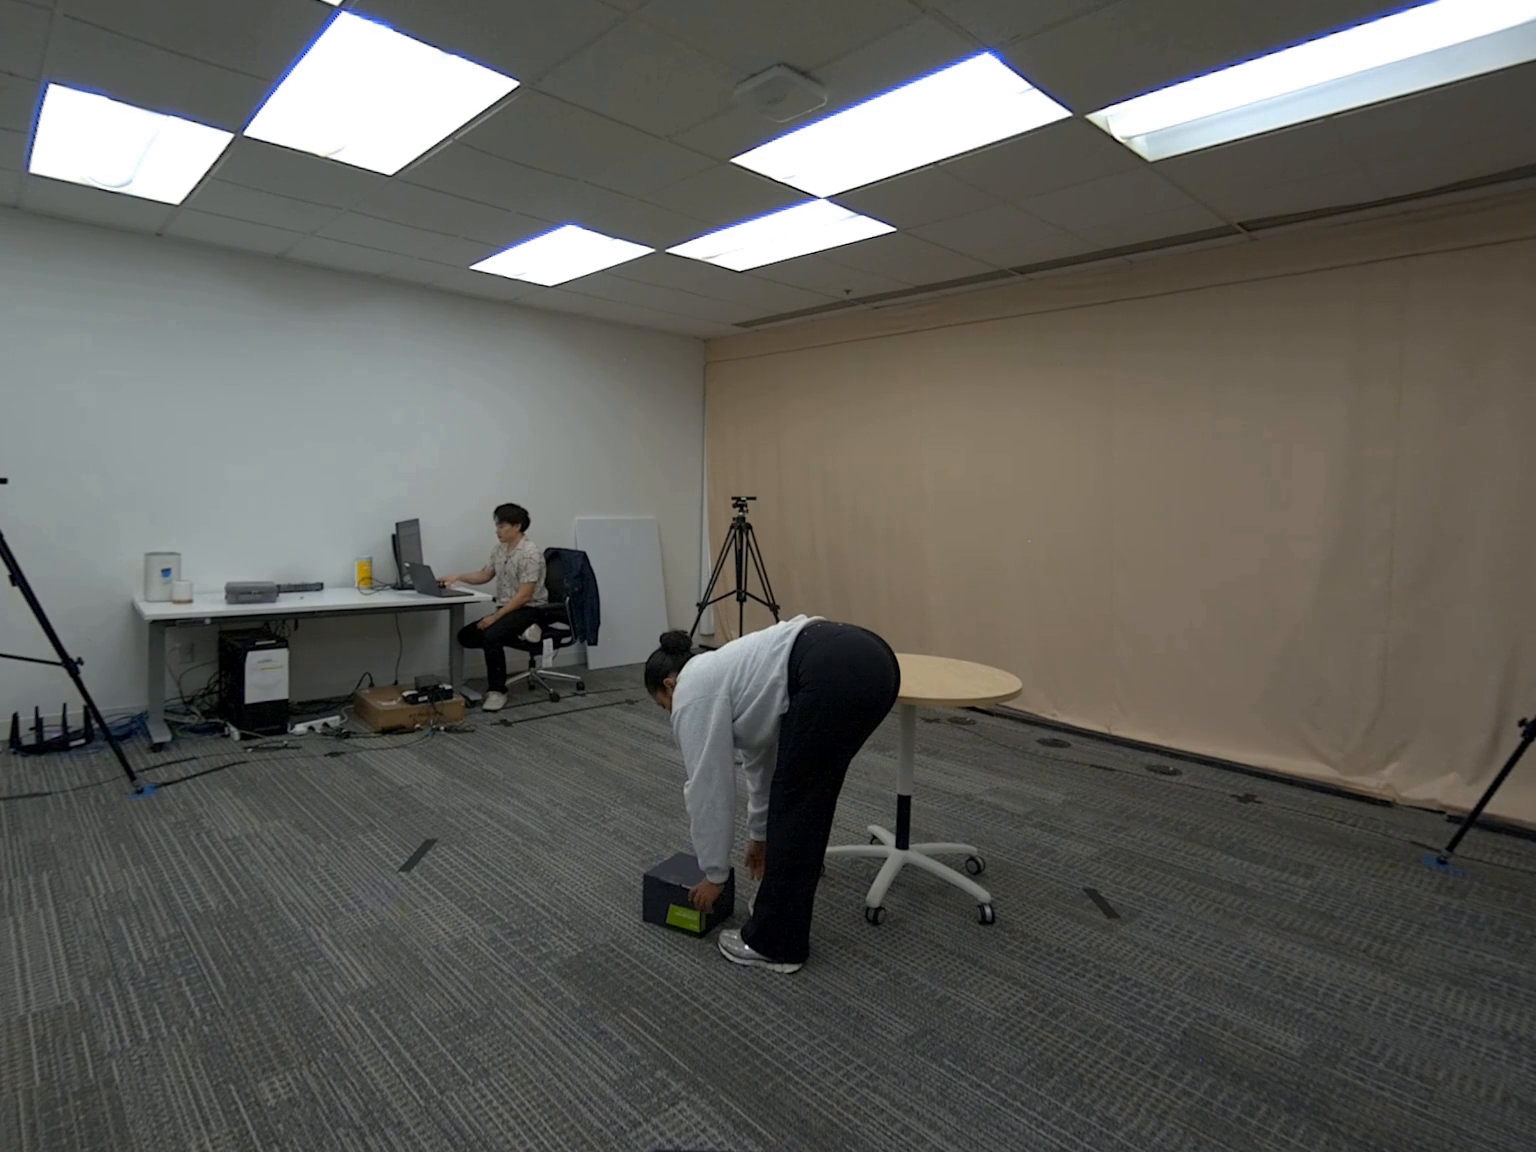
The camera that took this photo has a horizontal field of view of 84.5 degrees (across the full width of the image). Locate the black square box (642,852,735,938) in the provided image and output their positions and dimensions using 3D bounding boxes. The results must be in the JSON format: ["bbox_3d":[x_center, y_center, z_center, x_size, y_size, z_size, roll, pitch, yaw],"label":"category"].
[{"bbox_3d":[-0.262,1.045,2.793,0.233,0.155,0.213,4,5,29],"label":"black square box"}]
